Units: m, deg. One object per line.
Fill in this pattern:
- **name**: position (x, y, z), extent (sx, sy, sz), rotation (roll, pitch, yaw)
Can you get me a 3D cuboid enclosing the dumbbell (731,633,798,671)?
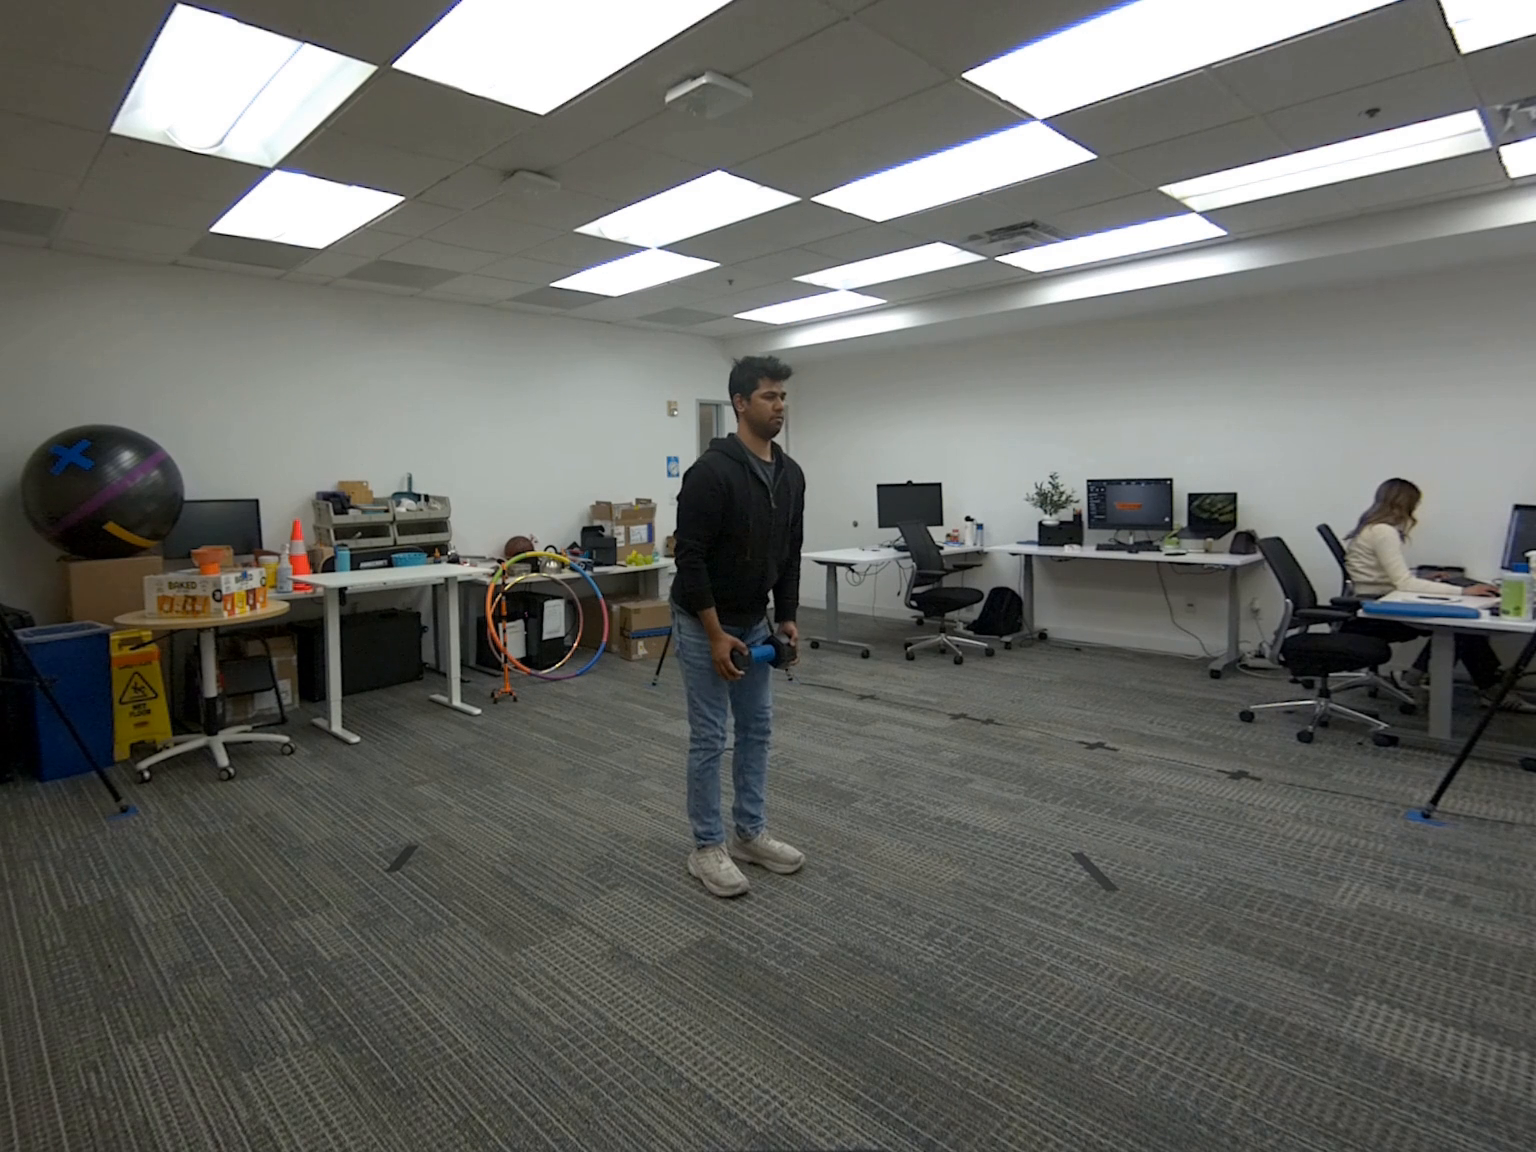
- **dumbbell**: position (-0.046, 0.282, 2.934), extent (0.286, 0.111, 0.123), rotation (-8, -23, -40)
